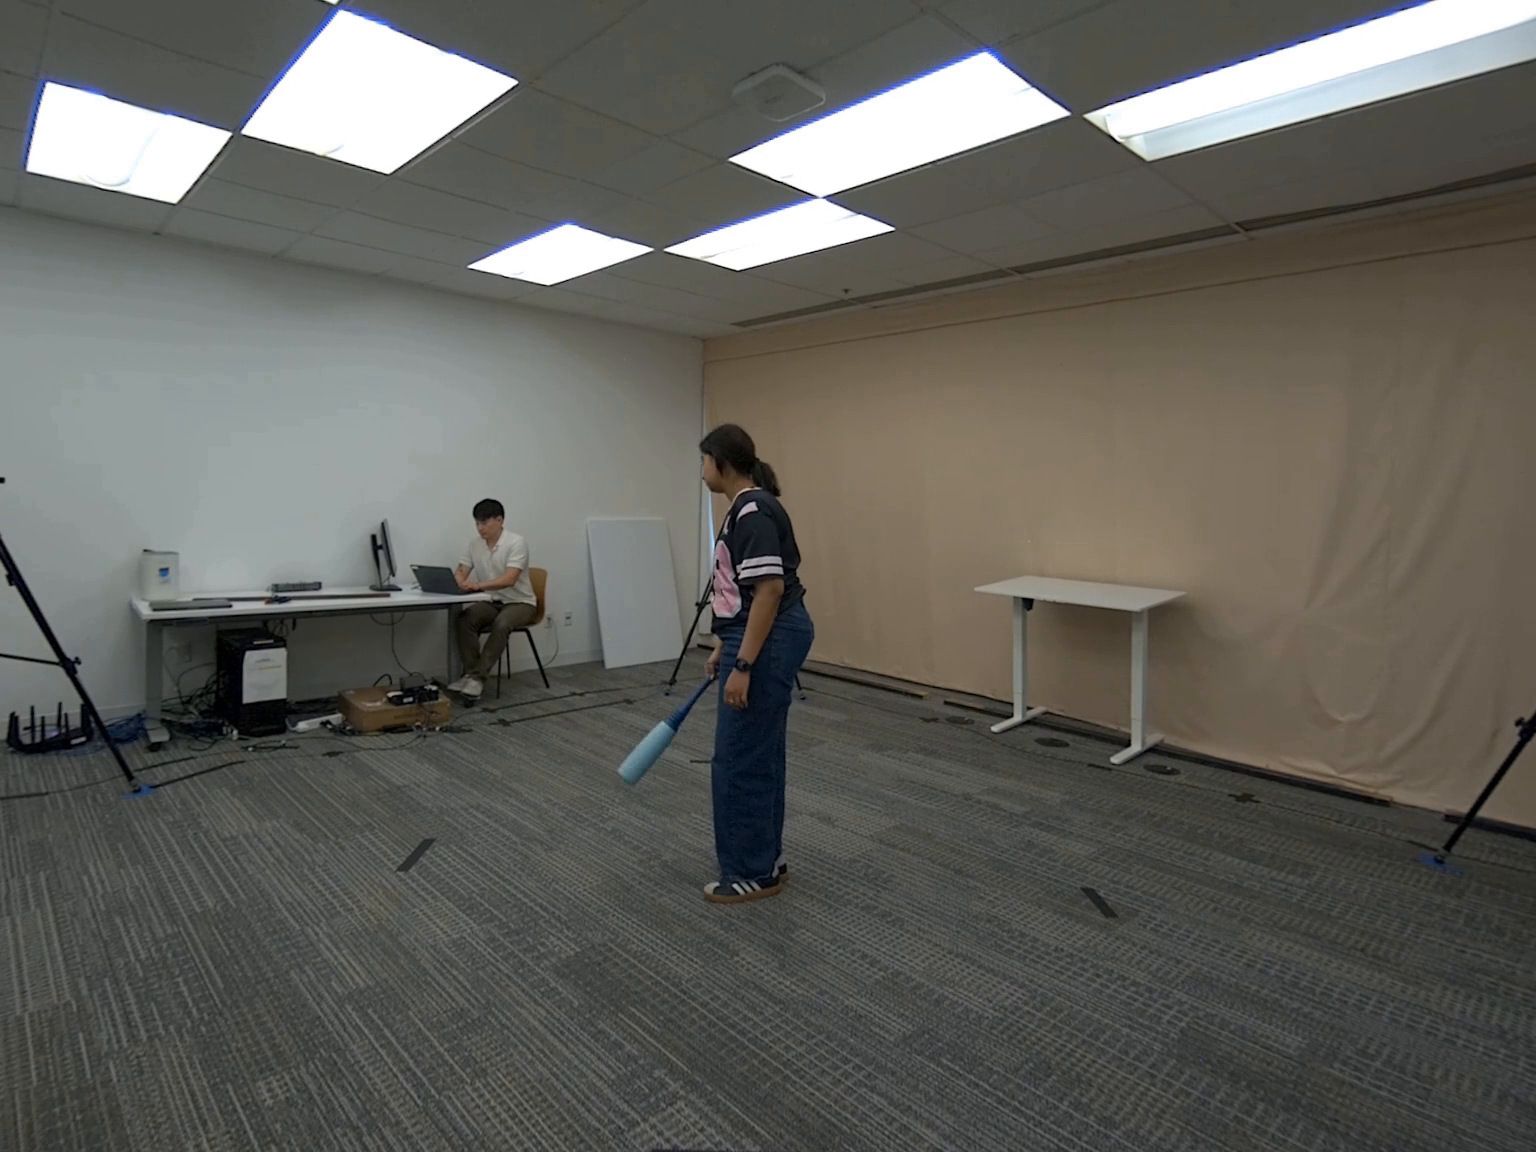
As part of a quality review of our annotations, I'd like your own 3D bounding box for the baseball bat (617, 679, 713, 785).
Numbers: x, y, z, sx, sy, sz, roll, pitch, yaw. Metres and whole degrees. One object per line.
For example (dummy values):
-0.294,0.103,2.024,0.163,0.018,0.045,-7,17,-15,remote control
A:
-0.358,0.540,3.127,0.090,0.543,0.088,38,-15,11,baseball bat
